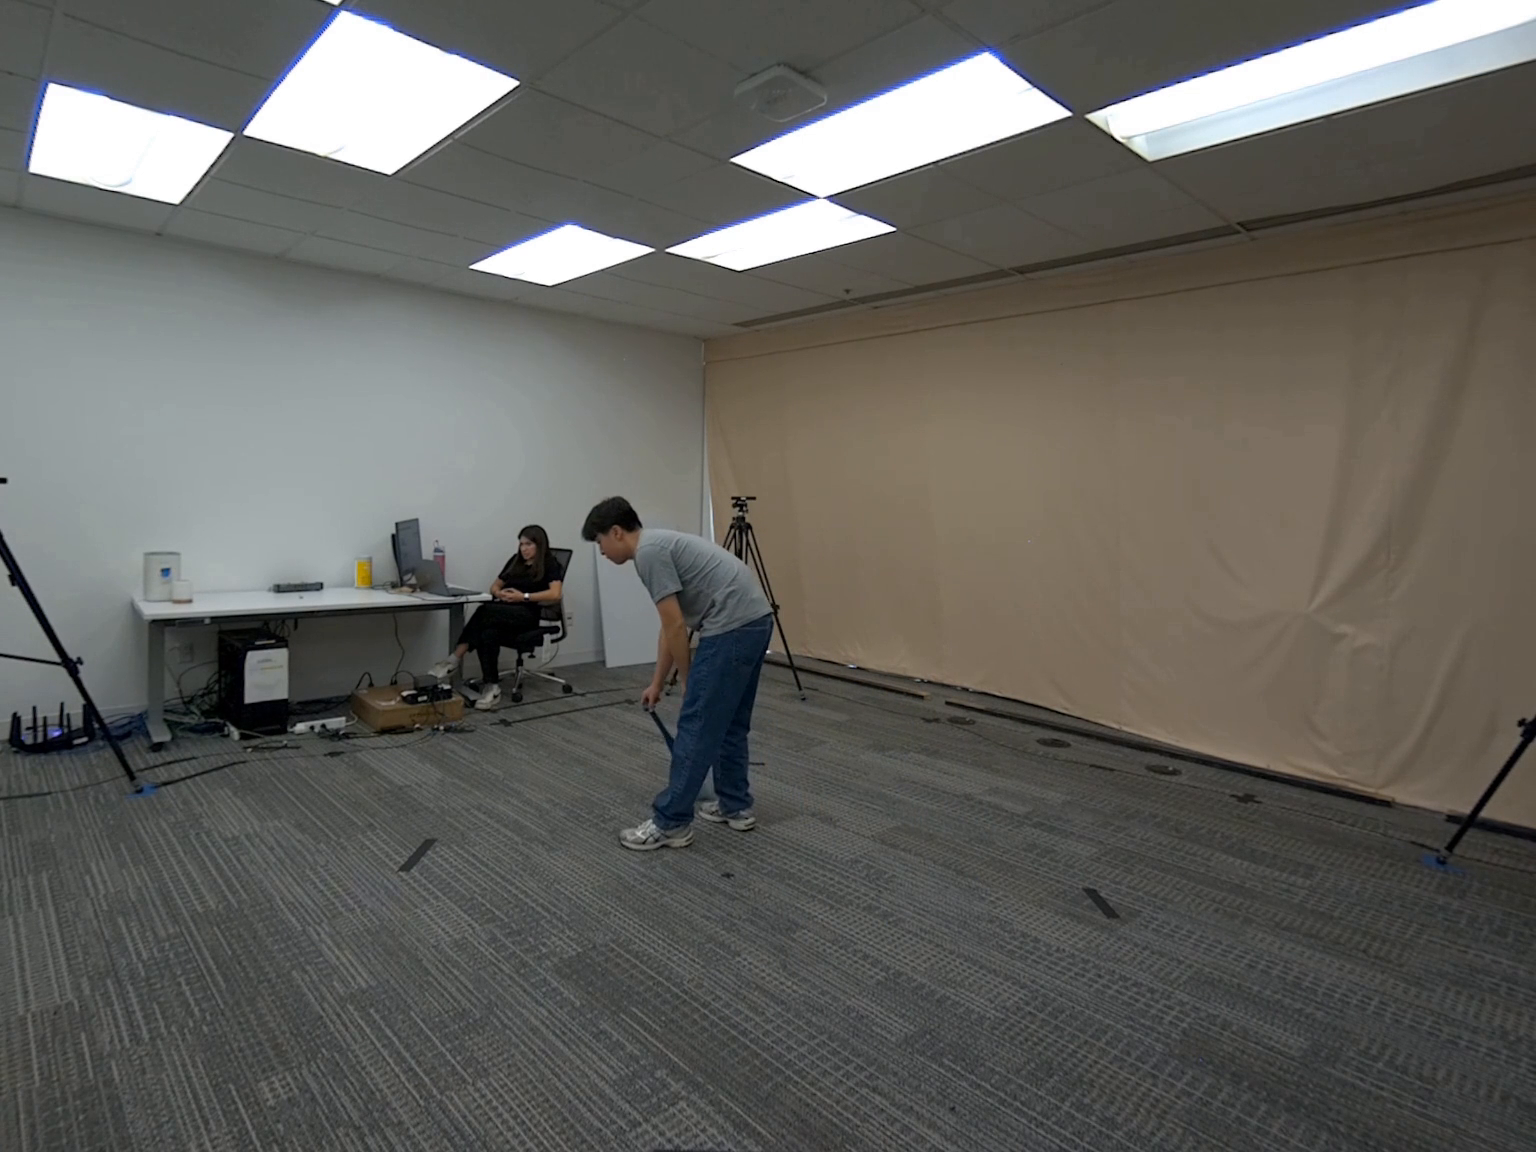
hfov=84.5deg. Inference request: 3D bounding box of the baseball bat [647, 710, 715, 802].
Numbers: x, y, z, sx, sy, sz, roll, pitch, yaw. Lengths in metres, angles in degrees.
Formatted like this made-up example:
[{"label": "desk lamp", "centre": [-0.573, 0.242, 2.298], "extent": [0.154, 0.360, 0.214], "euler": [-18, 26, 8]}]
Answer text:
[{"label": "baseball bat", "centre": [-0.426, 0.799, 3.819], "extent": [0.089, 0.533, 0.090], "euler": [-25, 20, 9]}]
